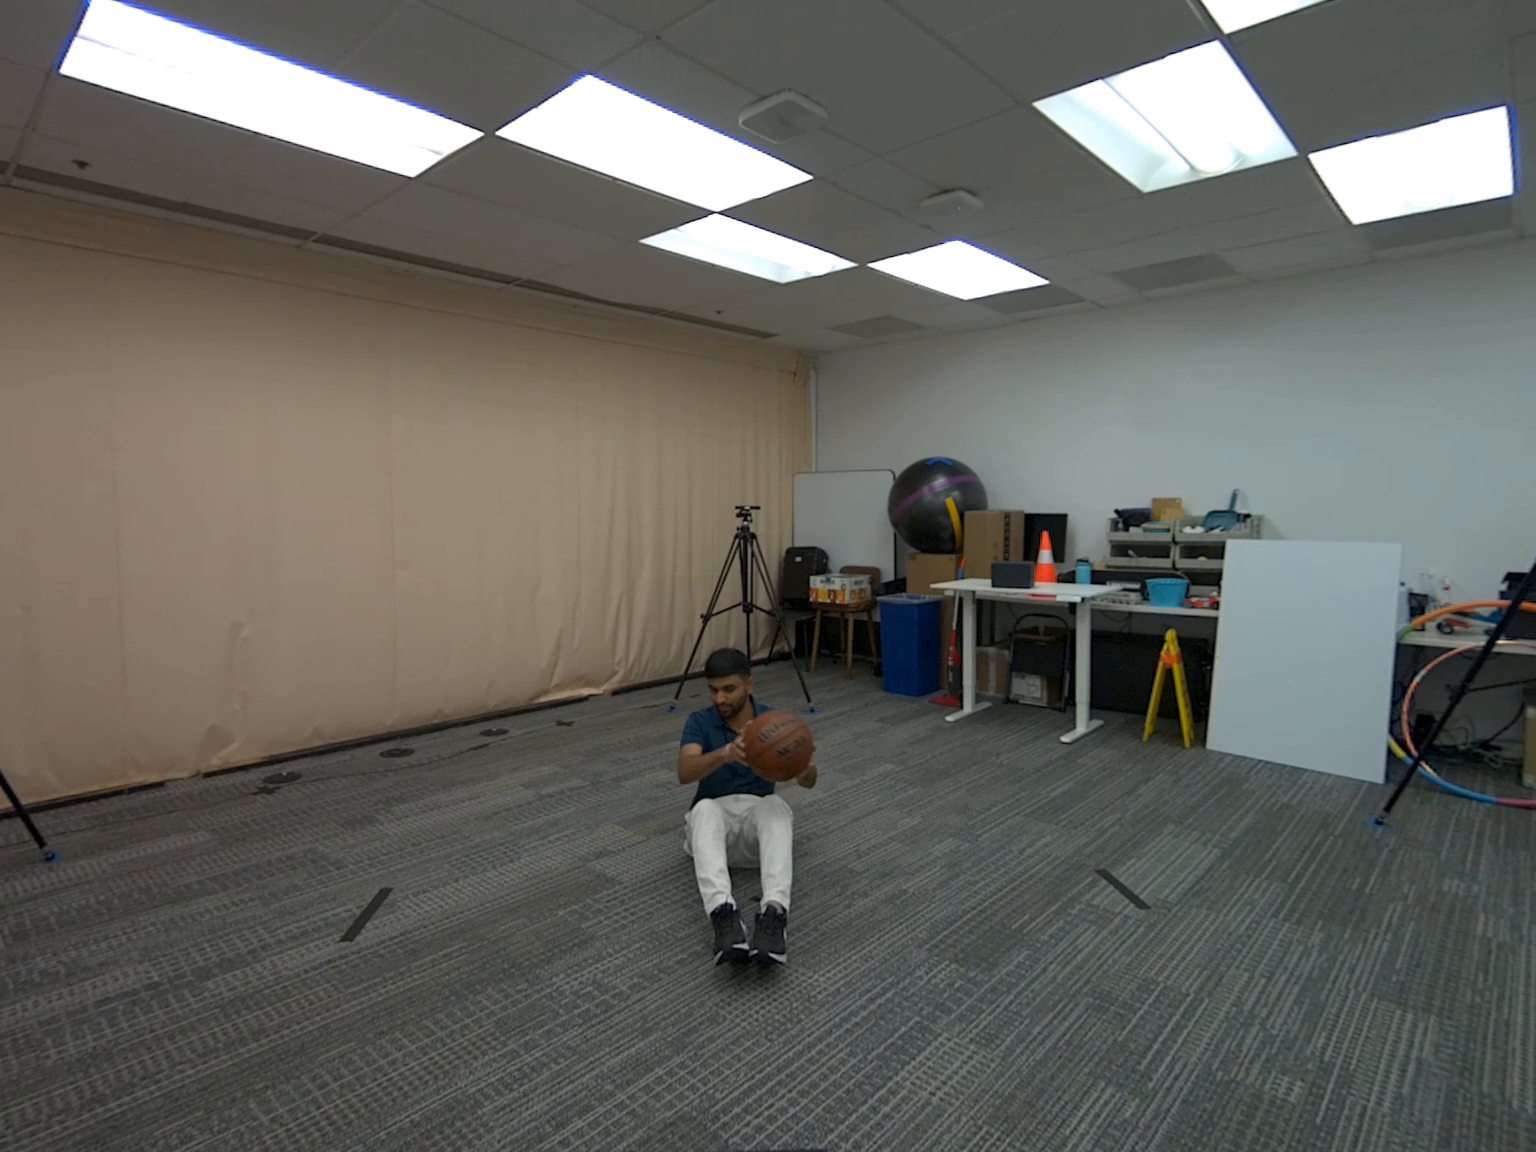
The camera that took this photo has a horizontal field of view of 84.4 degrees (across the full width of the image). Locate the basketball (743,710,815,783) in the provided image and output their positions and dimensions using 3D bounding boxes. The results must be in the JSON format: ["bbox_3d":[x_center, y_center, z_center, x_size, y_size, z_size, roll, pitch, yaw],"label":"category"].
[{"bbox_3d":[0.031,0.584,2.875,0.236,0.235,0.237,0,4,-2],"label":"basketball"}]
